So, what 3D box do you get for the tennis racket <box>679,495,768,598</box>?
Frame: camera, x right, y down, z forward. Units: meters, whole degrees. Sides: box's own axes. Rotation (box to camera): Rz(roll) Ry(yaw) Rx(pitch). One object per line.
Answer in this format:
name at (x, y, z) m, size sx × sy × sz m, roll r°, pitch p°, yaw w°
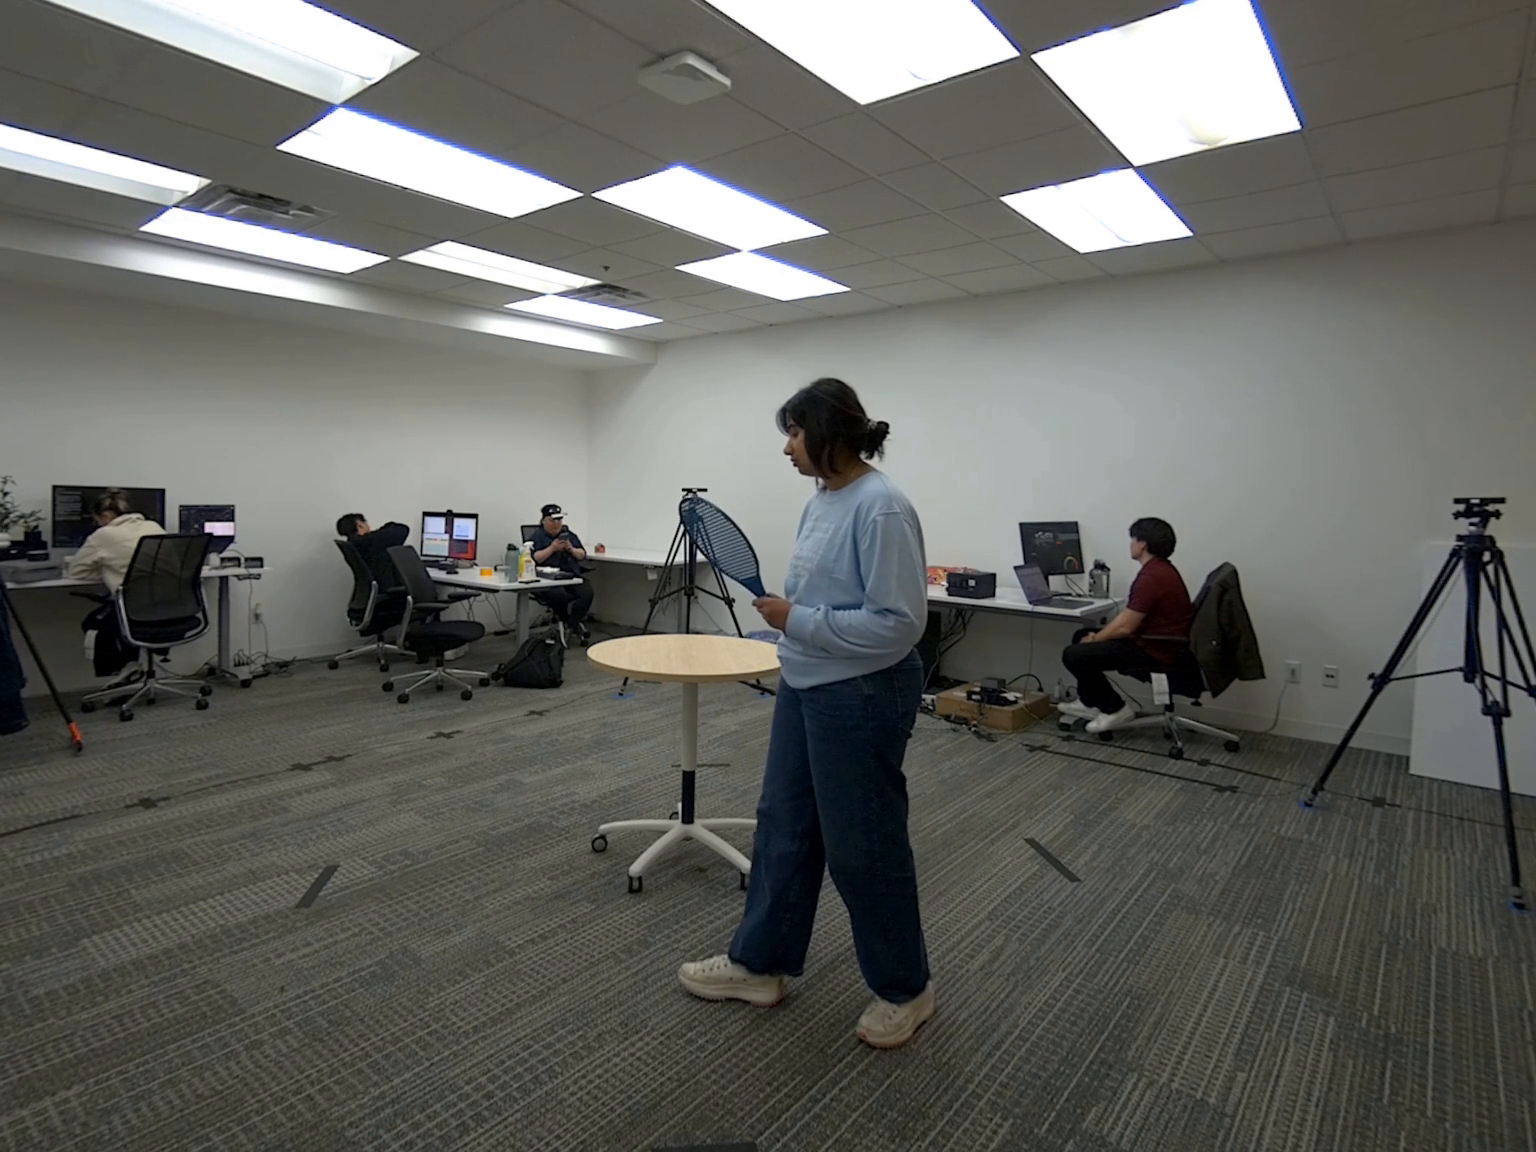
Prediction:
tennis racket at (-0.074, -0.035, 2.106) m, size 0.032 × 0.429 × 0.216 m, roll -45°, pitch 7°, yaw -32°
